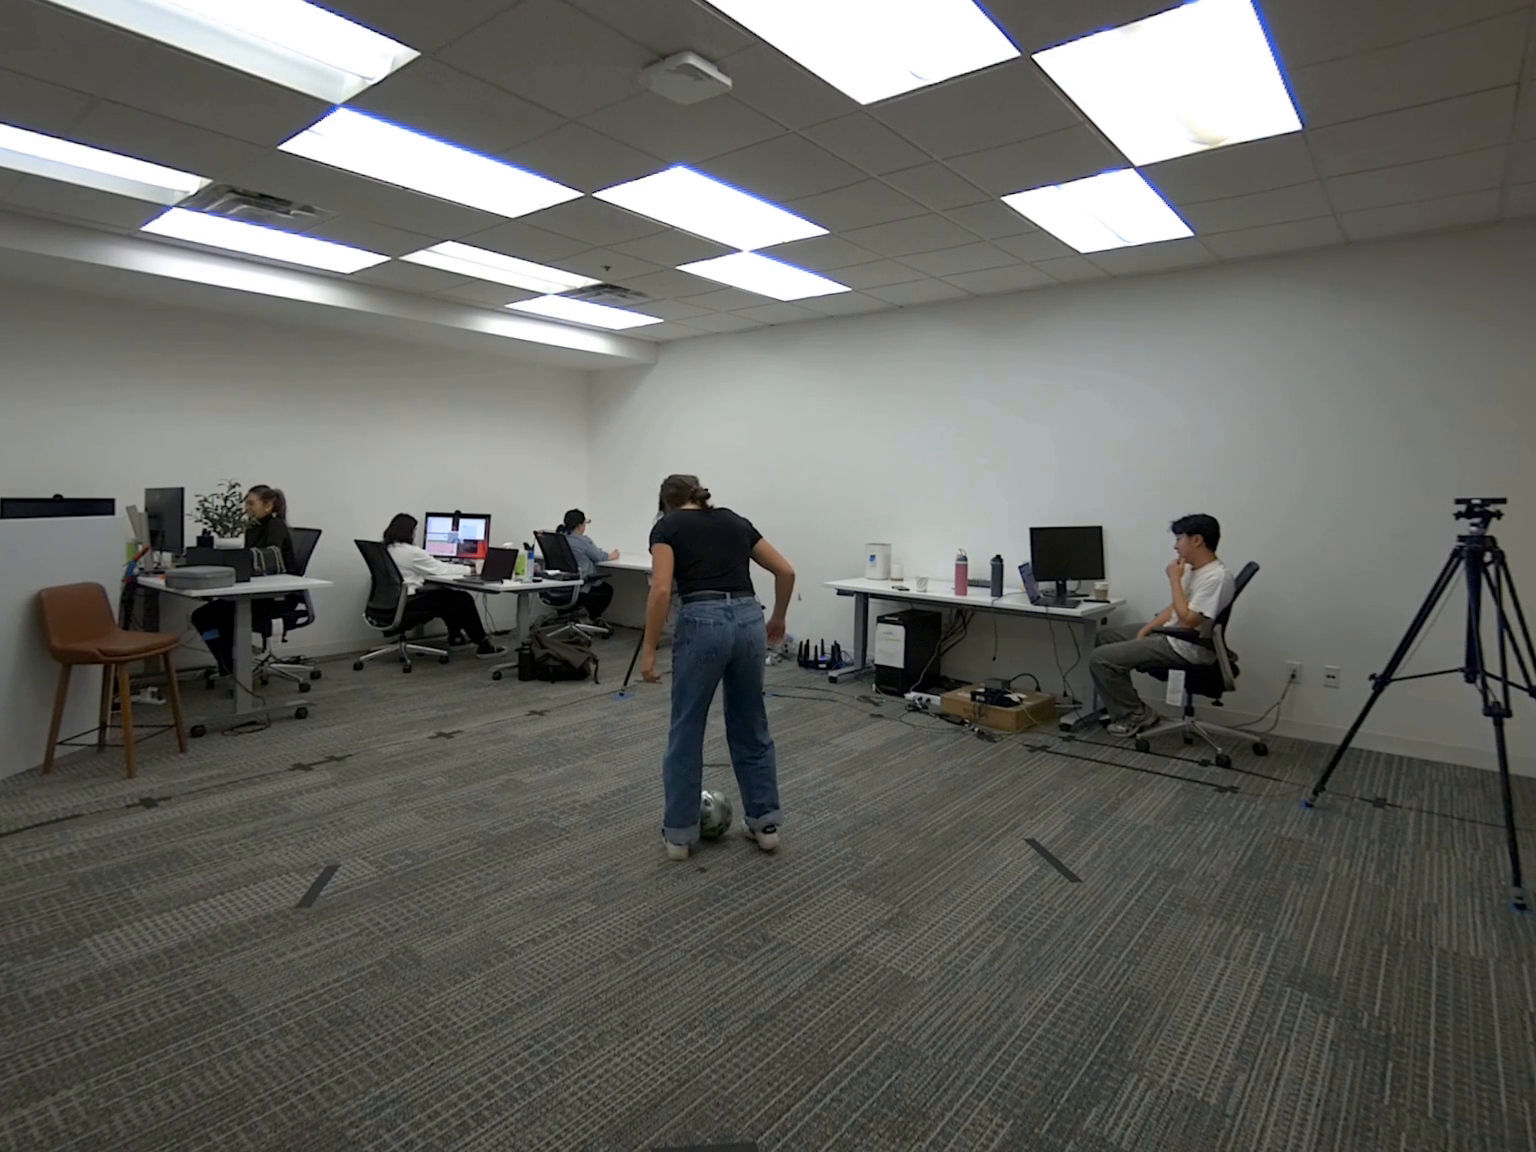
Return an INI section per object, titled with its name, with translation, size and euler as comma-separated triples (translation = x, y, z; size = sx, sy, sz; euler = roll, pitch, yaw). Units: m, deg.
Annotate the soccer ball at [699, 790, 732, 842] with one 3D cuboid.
[soccer ball]
translation = -0.233, 0.945, 3.405
size = 0.187, 0.187, 0.188
euler = 1, 4, -2
